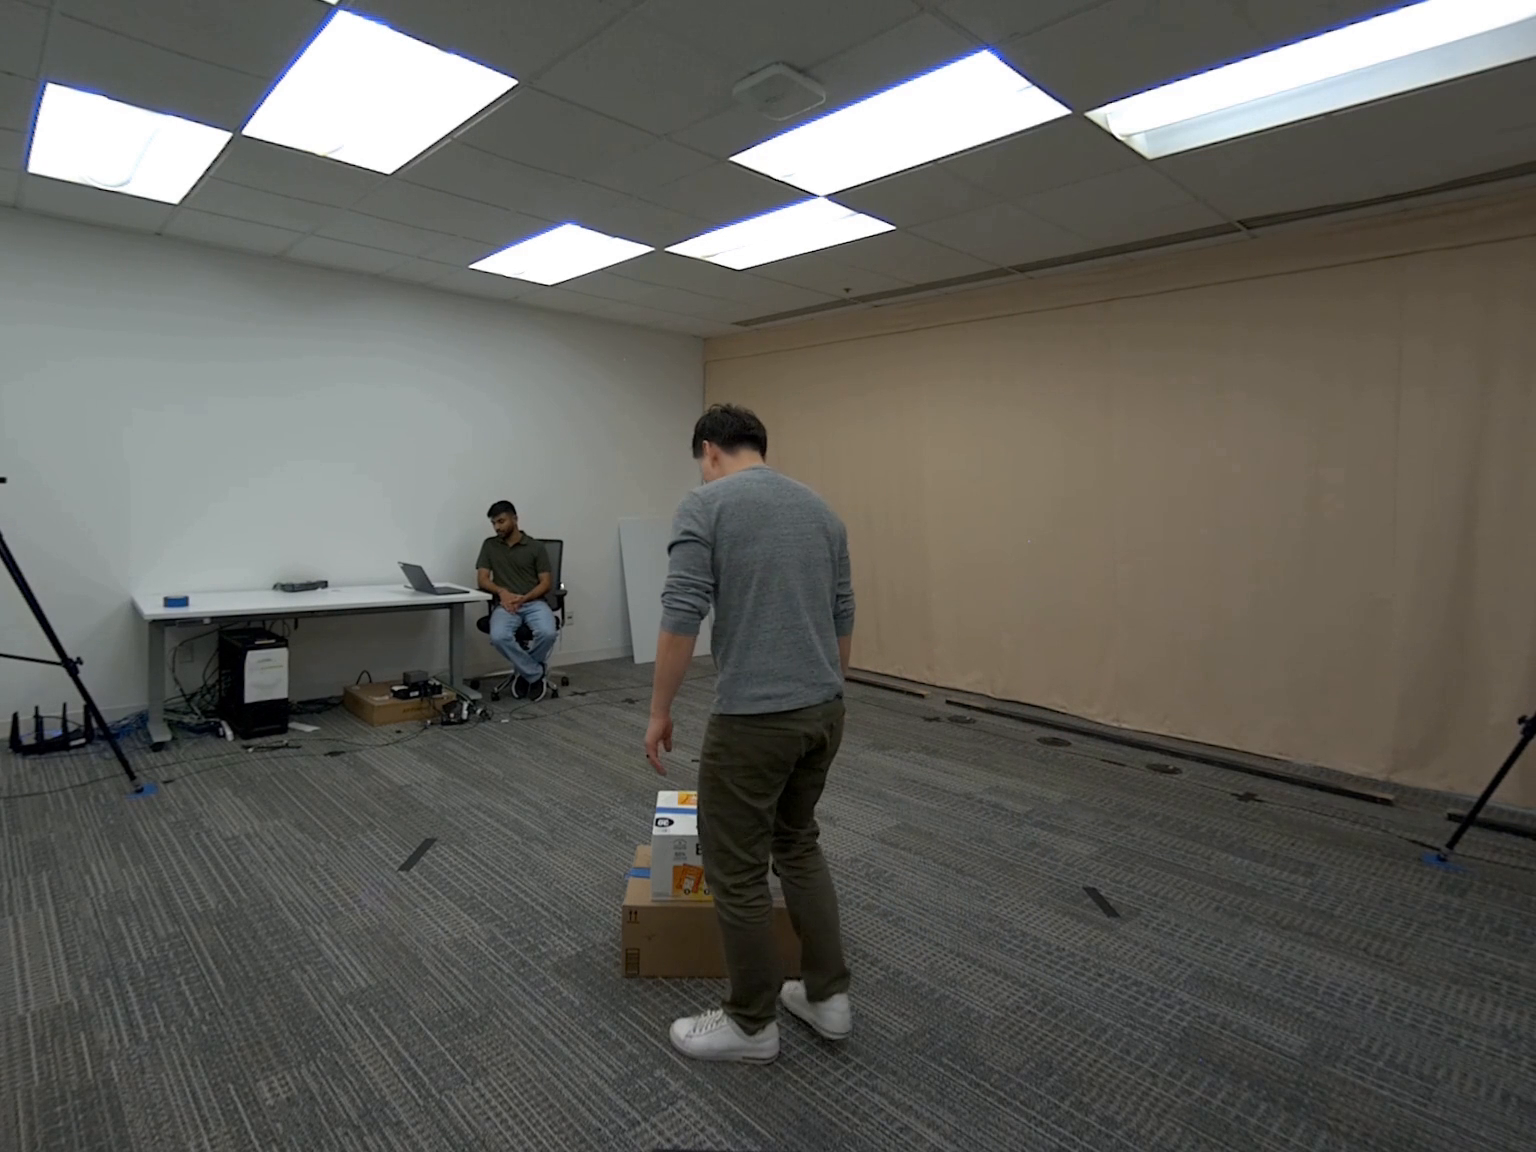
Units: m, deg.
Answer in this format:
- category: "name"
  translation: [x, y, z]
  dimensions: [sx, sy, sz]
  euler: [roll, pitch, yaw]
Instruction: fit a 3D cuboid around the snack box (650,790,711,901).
- category: "snack box"
  translation: [-0.155, 0.832, 2.602]
  dimensions: [0.404, 0.205, 0.342]
  euler: [1, 6, -3]
